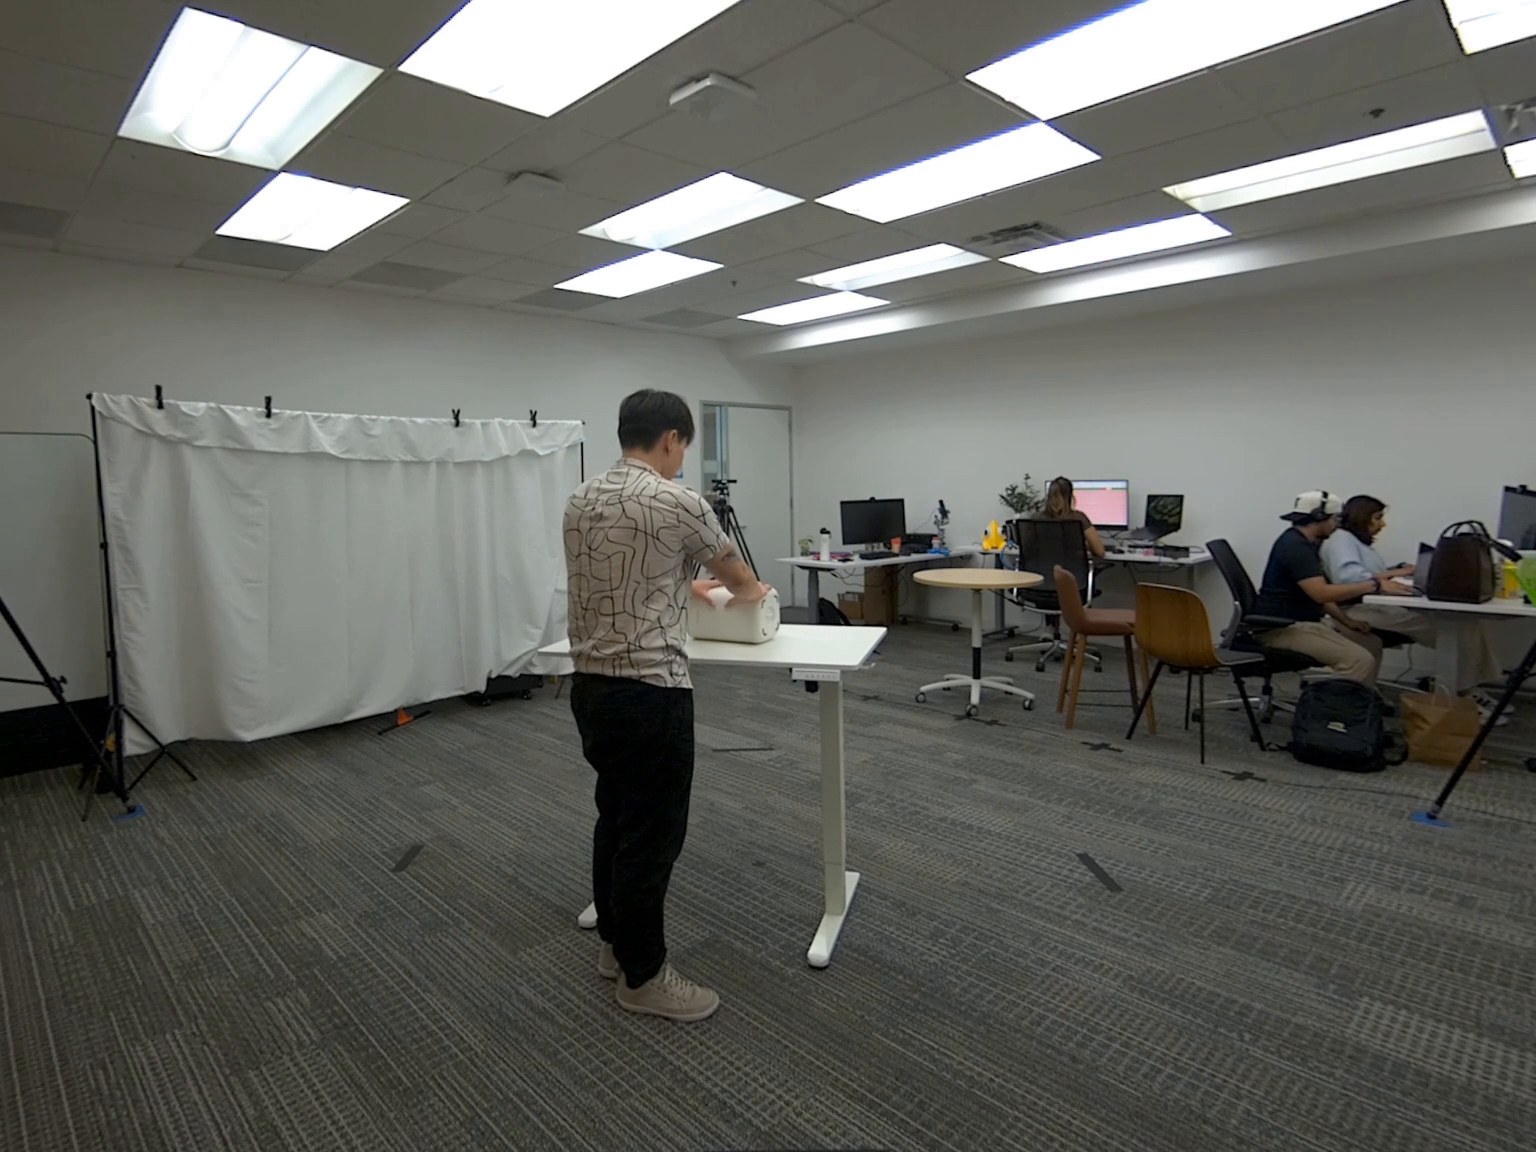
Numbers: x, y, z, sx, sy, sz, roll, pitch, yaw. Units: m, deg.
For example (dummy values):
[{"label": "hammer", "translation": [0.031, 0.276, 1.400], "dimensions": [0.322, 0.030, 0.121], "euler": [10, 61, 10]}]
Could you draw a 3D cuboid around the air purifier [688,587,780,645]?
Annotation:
[{"label": "air purifier", "translation": [-0.106, 0.121, 2.761], "dimensions": [0.272, 0.170, 0.168], "euler": [2, 8, 29]}]
